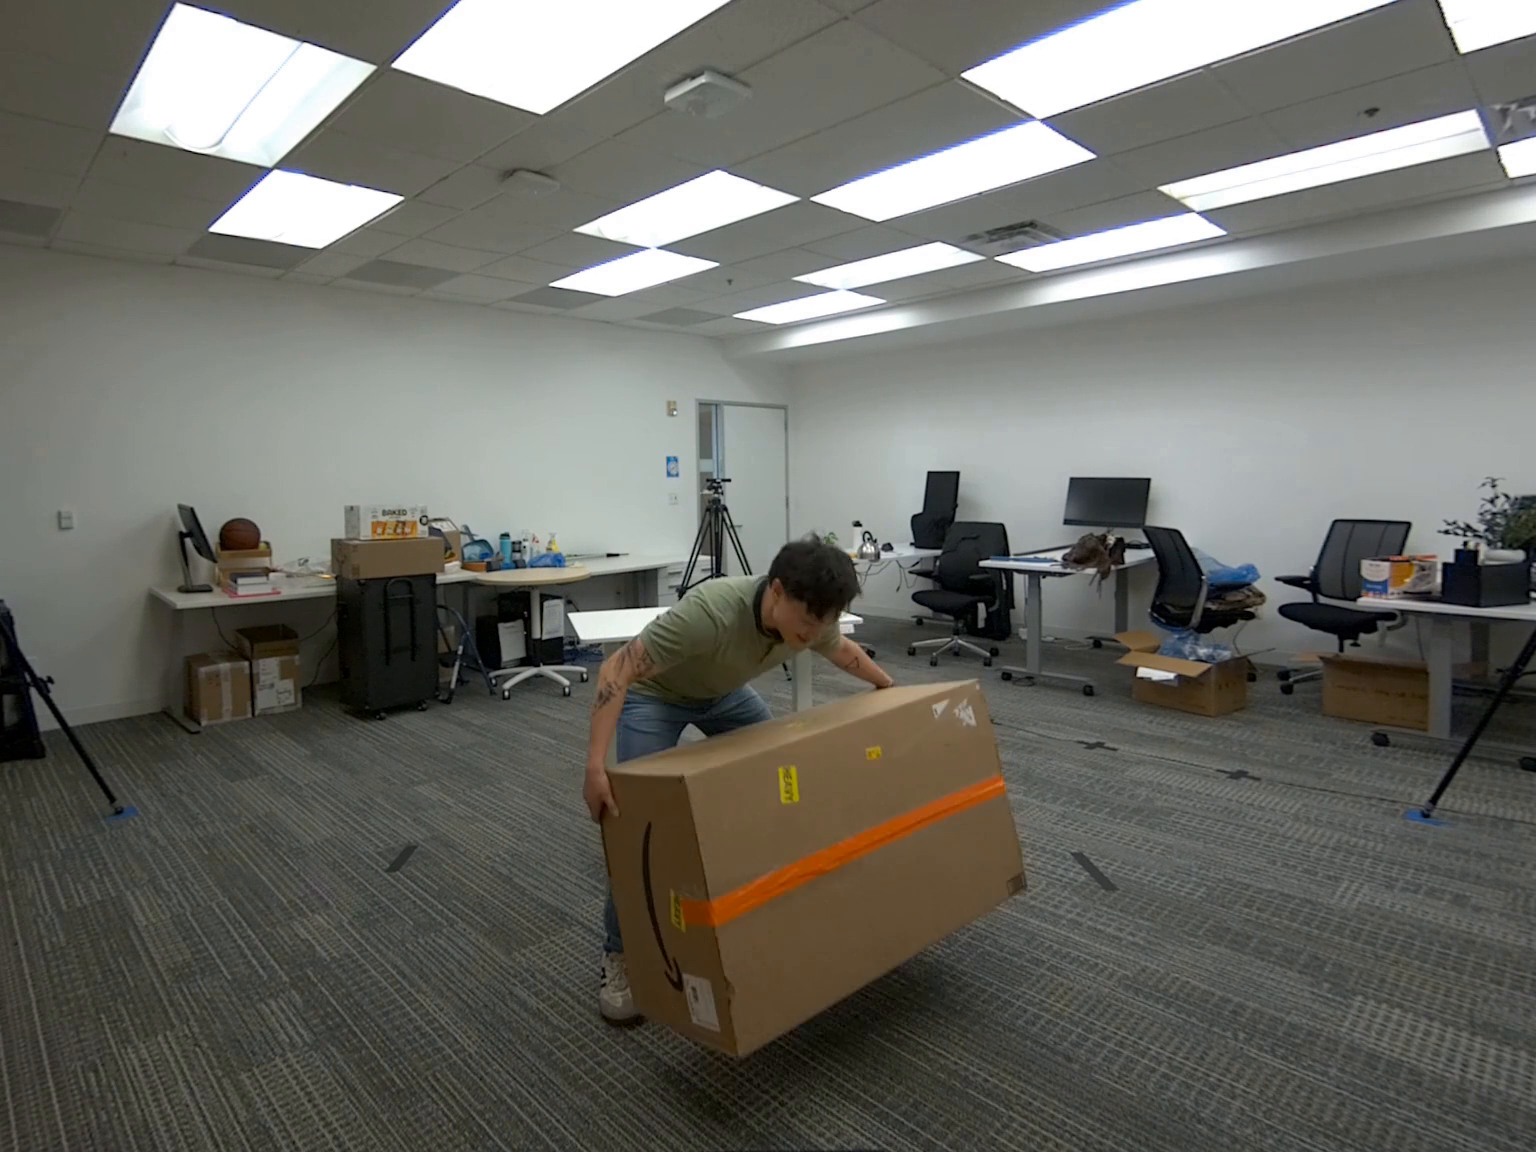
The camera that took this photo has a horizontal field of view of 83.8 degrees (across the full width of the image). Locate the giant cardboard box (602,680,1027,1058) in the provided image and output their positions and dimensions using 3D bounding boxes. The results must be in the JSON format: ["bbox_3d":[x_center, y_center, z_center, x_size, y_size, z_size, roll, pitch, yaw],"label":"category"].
[{"bbox_3d":[0.144,0.674,2.202,1.001,0.581,0.434,-8,-7,-38],"label":"giant cardboard box"}]
